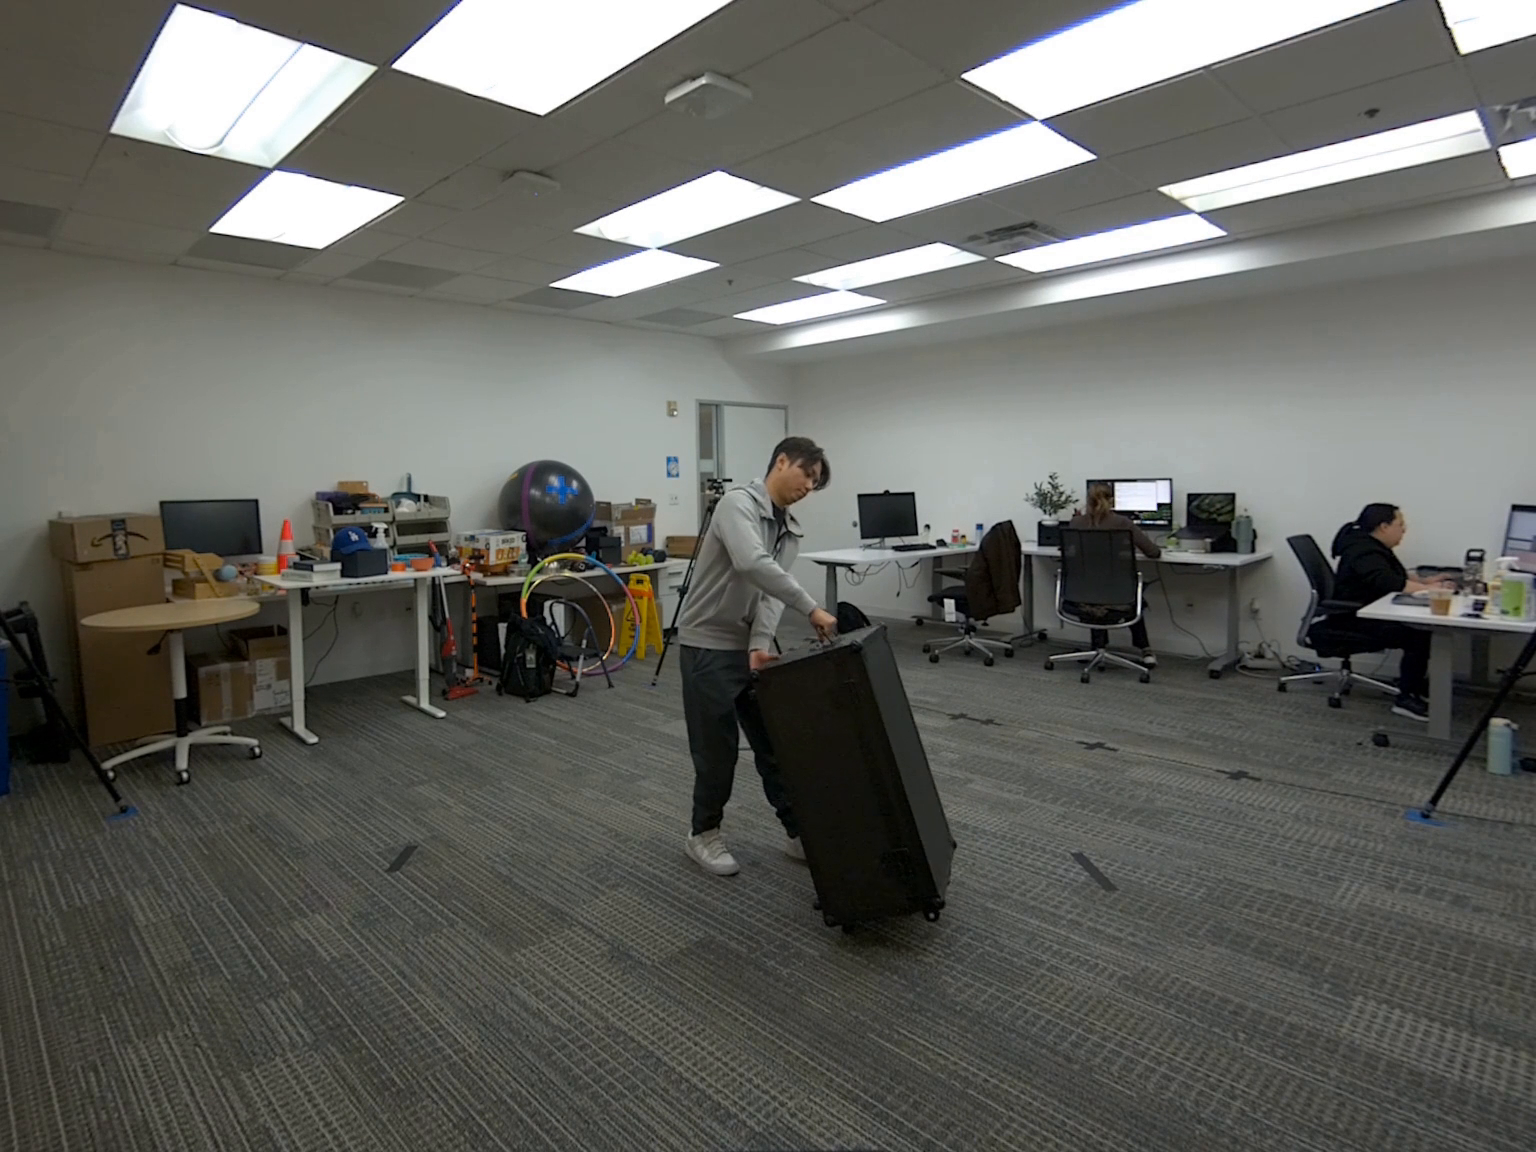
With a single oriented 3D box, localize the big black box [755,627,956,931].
[{"bbox_3d":[0.273,0.585,2.733,0.400,0.866,0.513,-19,-4,17],"label":"big black box"}]
